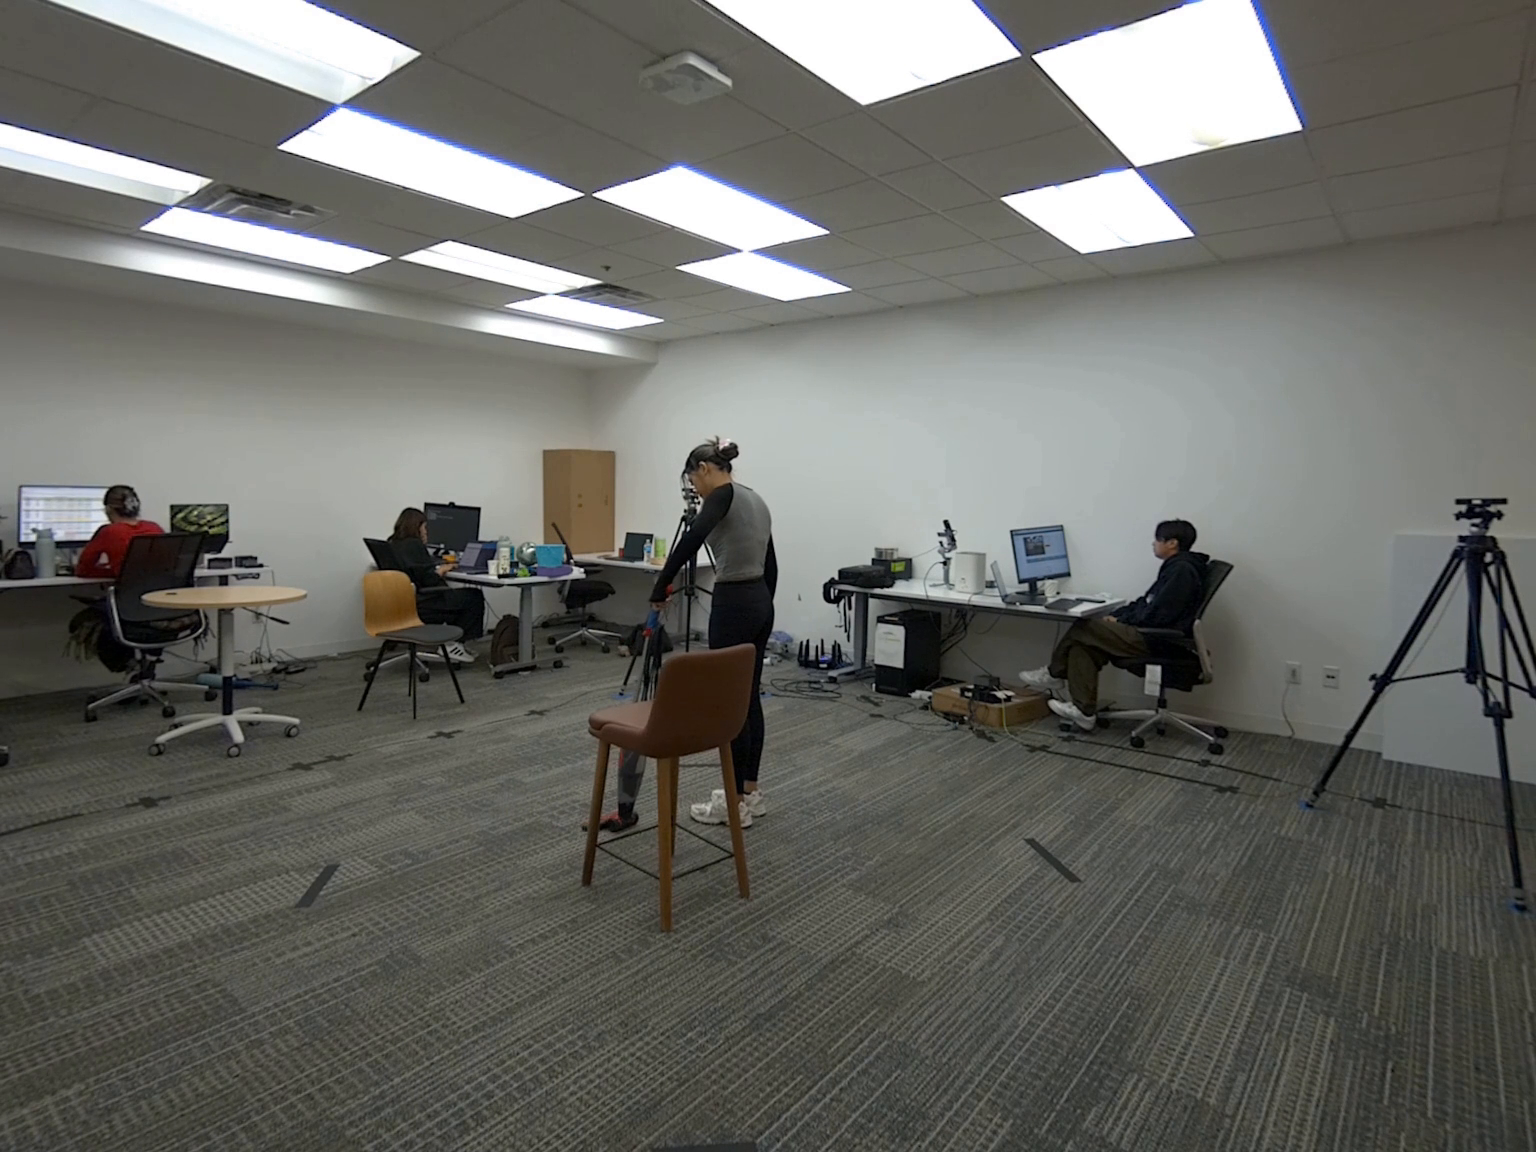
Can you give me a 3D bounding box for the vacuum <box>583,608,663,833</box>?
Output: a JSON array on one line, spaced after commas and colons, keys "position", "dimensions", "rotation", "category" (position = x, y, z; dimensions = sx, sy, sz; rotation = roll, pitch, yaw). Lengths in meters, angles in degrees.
[{"position": [-0.518, 0.533, 3.398], "dimensions": [0.149, 1.041, 0.245], "rotation": [23, 14, 34], "category": "vacuum"}]
